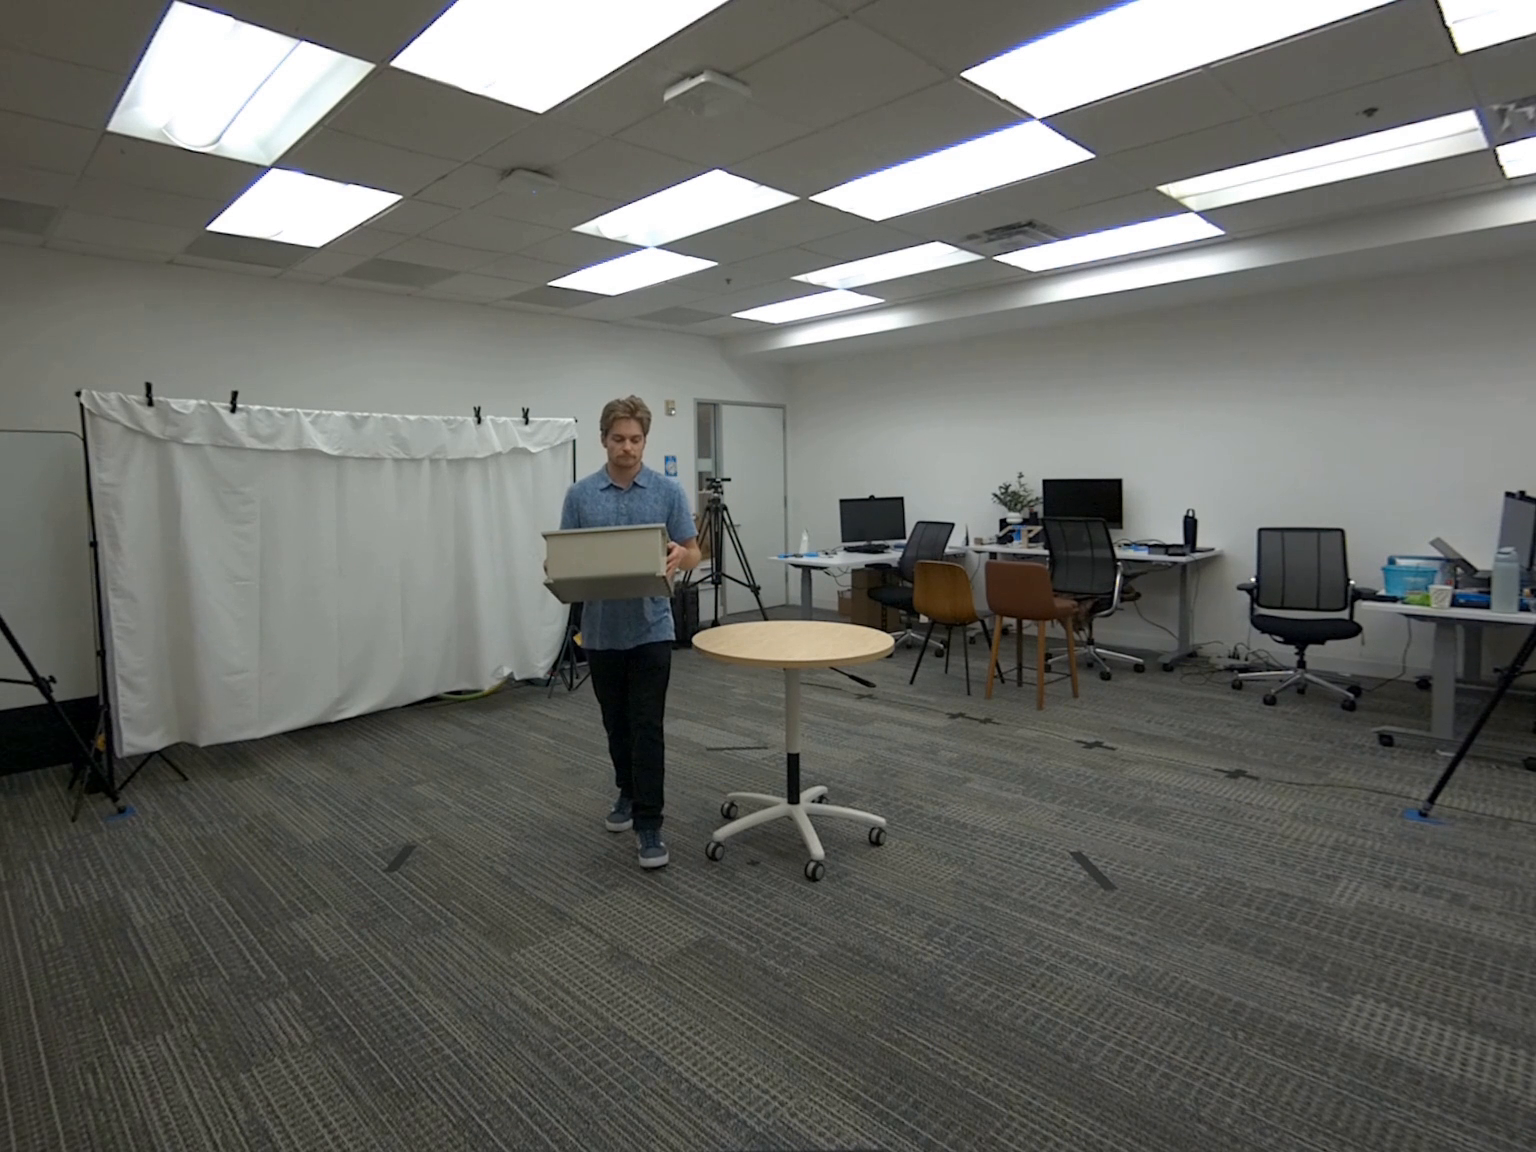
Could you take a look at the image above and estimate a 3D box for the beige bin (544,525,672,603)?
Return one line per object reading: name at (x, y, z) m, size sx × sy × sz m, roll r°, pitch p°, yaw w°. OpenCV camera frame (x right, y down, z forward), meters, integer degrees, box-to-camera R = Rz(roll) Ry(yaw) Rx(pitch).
beige bin at (-0.557, -0.023, 3.040) m, size 0.422 × 0.192 × 0.371 m, roll -4°, pitch -15°, yaw 0°
